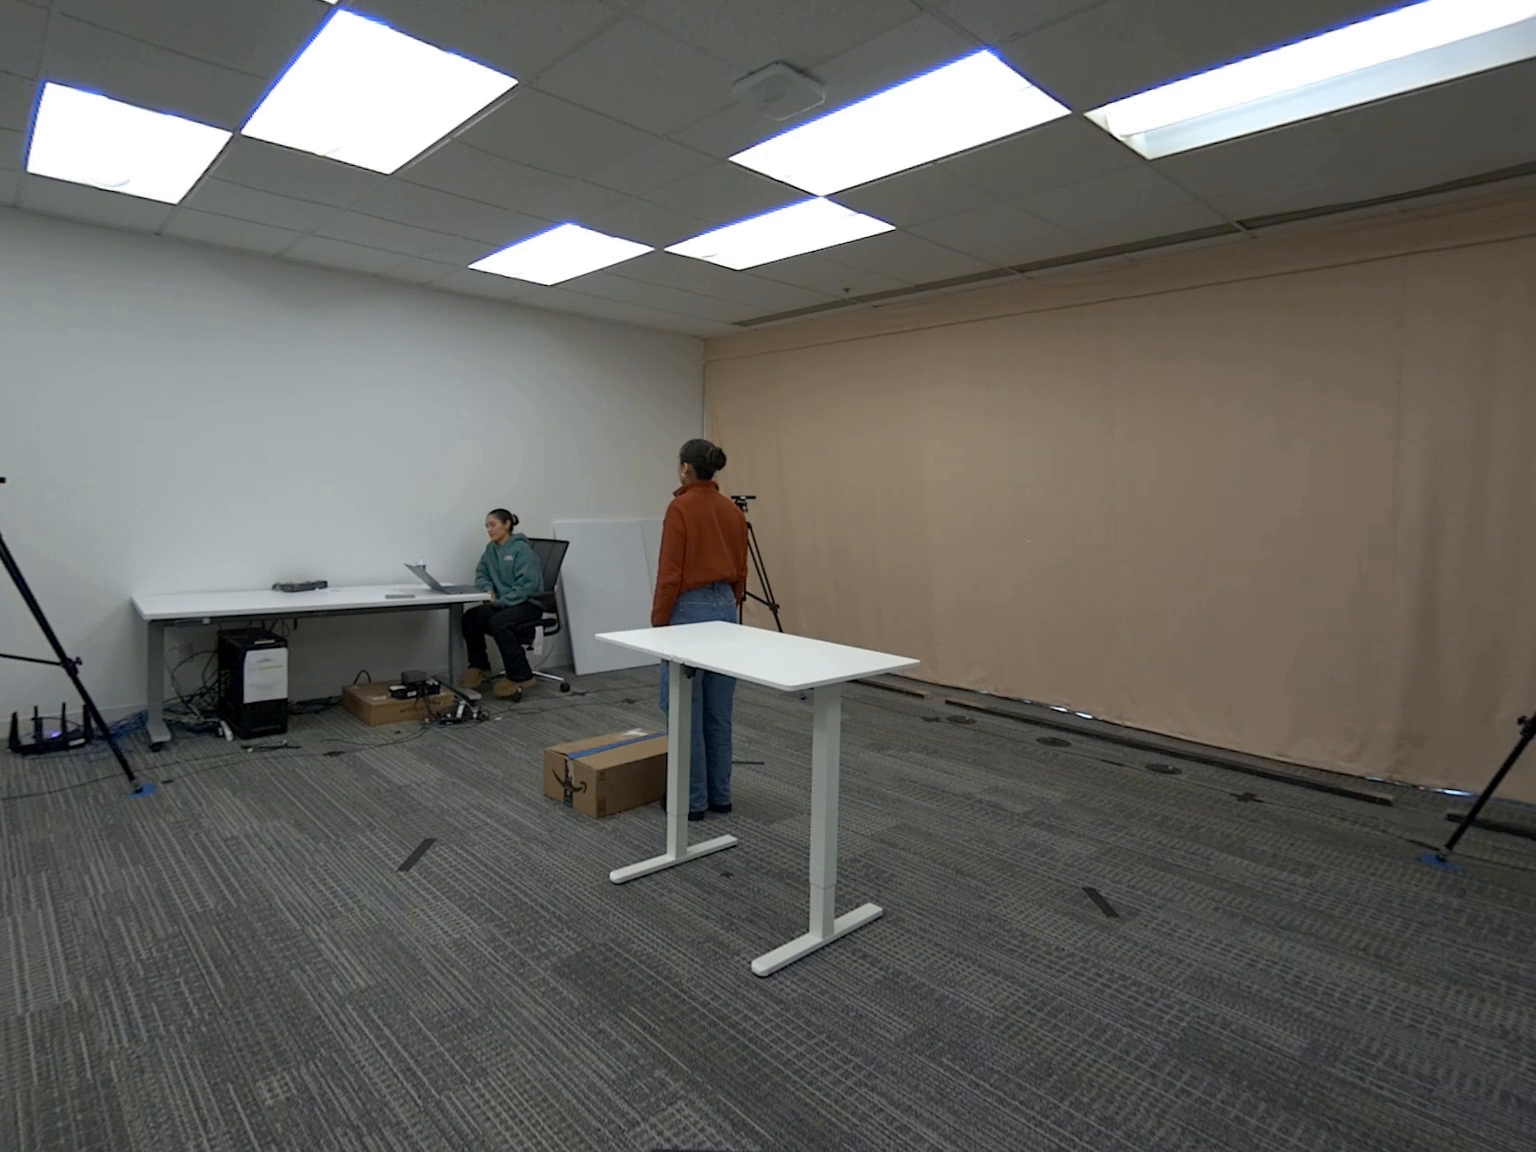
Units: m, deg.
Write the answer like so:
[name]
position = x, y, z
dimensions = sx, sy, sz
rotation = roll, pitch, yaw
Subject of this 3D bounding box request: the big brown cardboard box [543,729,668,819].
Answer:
[big brown cardboard box]
position = -0.702, 0.901, 3.944
dimensions = 0.428, 0.232, 0.576
rotation = 5, 7, 42
